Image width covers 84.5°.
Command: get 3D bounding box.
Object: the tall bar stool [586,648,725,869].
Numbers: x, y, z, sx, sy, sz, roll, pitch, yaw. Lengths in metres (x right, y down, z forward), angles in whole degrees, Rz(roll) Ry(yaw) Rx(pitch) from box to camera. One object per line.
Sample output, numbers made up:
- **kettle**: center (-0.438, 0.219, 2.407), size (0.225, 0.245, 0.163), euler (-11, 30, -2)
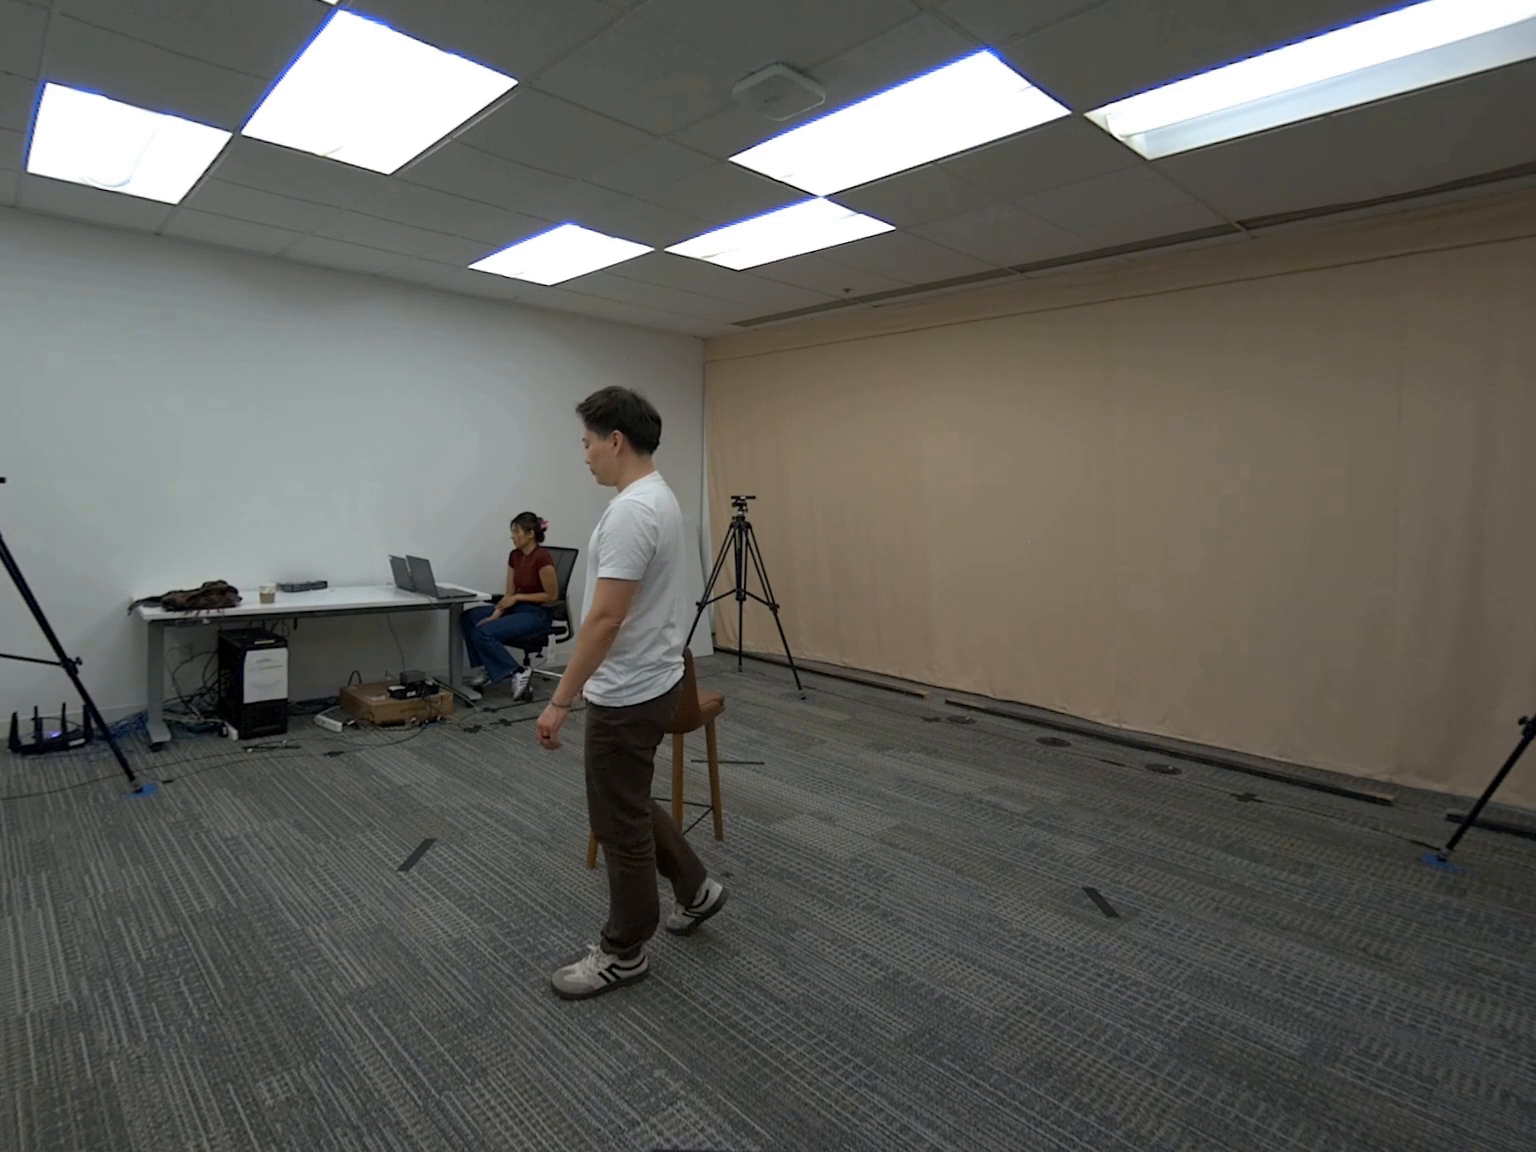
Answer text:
- **tall bar stool**: center (-0.437, 0.647, 3.250), size (0.464, 0.886, 0.462), euler (2, 5, 19)
